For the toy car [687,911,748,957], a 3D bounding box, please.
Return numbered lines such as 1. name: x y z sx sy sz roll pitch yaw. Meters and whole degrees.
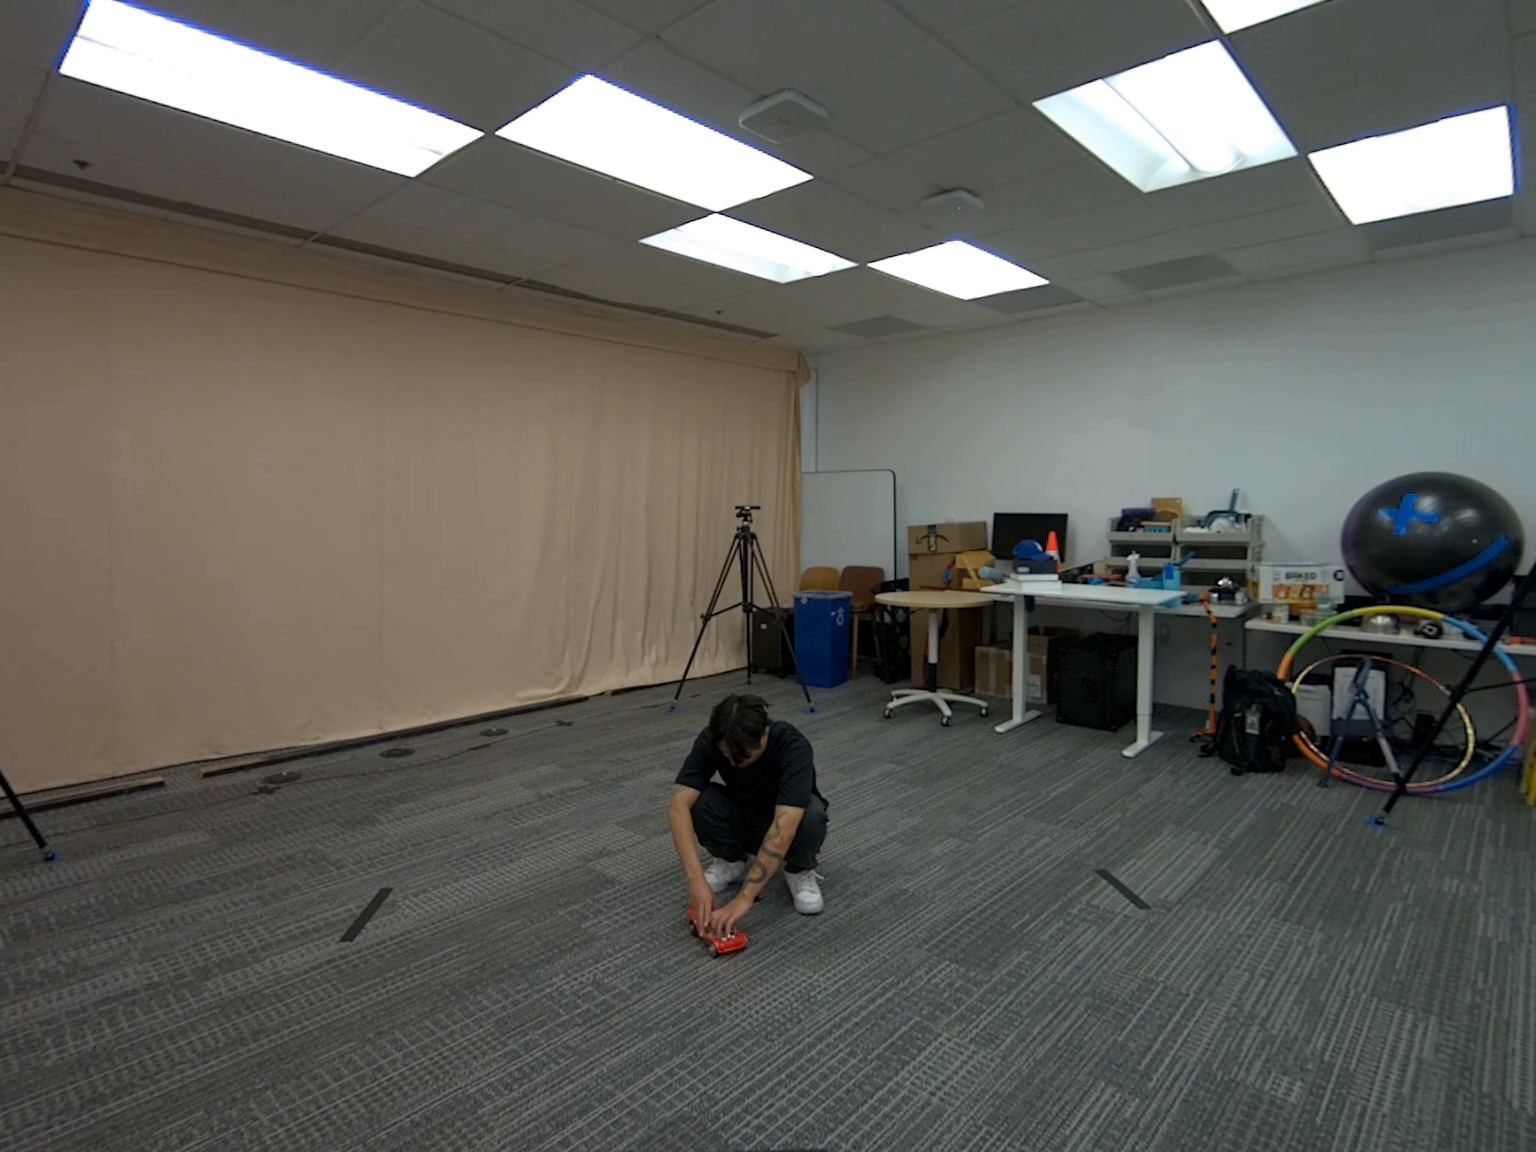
1. toy car: -0.171 1.129 2.708 0.127 0.082 0.263 -3 17 -29
